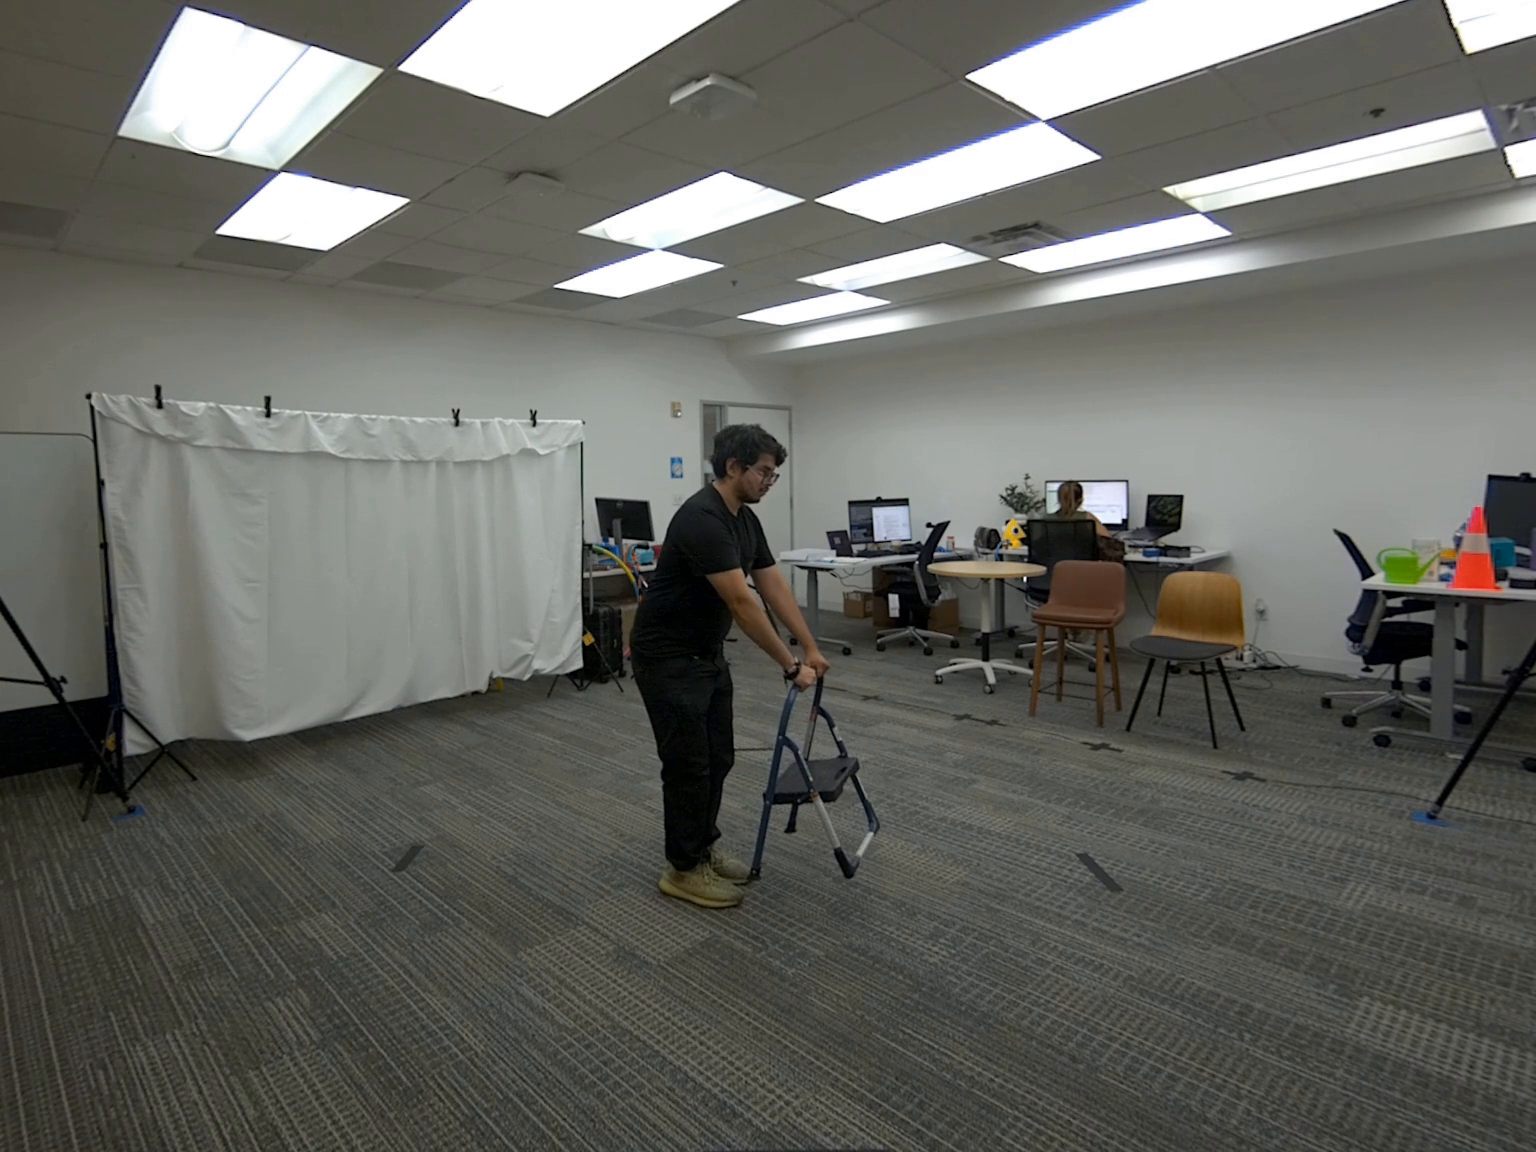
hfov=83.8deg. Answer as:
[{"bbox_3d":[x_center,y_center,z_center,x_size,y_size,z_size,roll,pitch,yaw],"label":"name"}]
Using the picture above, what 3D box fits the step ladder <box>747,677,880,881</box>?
[{"bbox_3d":[0.112,0.619,2.823,0.355,0.606,0.423,-10,0,21],"label":"step ladder"}]
